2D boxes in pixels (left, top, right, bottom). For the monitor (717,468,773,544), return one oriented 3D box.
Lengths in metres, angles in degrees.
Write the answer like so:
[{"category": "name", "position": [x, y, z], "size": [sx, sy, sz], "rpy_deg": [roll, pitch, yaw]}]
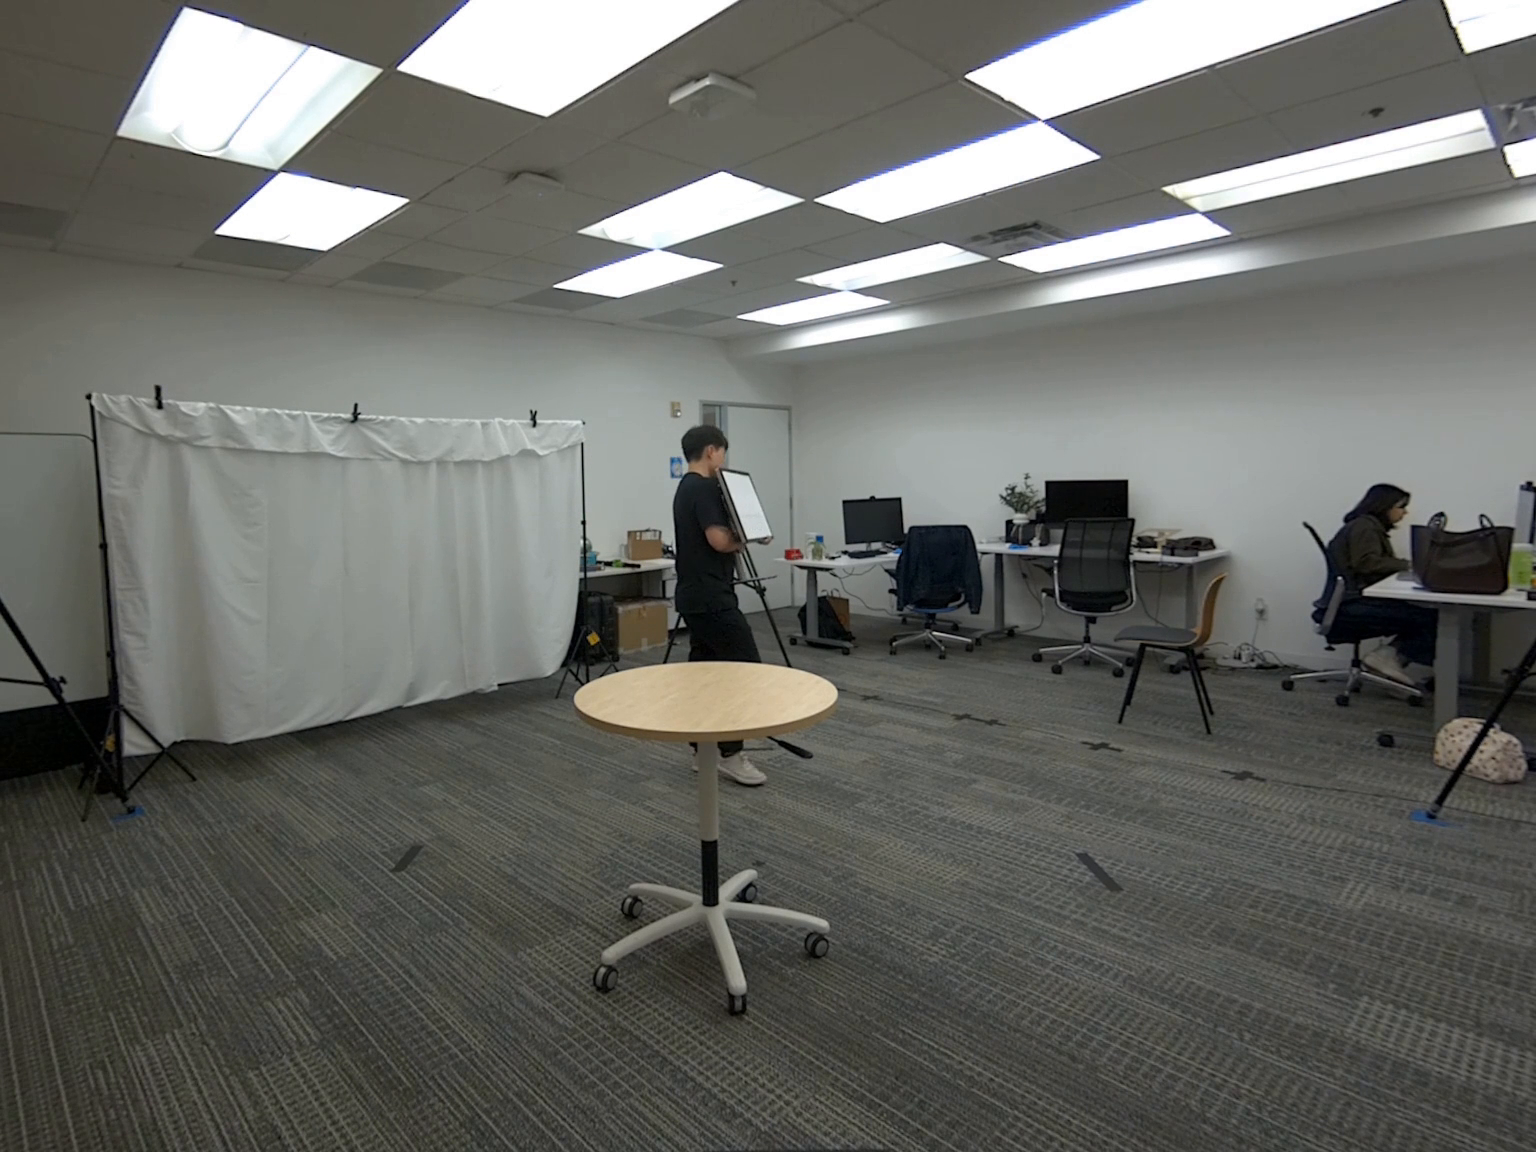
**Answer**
[{"category": "monitor", "position": [-0.125, -0.240, 4.107], "size": [0.189, 0.523, 0.533], "rpy_deg": [-10, 0, 13]}]
